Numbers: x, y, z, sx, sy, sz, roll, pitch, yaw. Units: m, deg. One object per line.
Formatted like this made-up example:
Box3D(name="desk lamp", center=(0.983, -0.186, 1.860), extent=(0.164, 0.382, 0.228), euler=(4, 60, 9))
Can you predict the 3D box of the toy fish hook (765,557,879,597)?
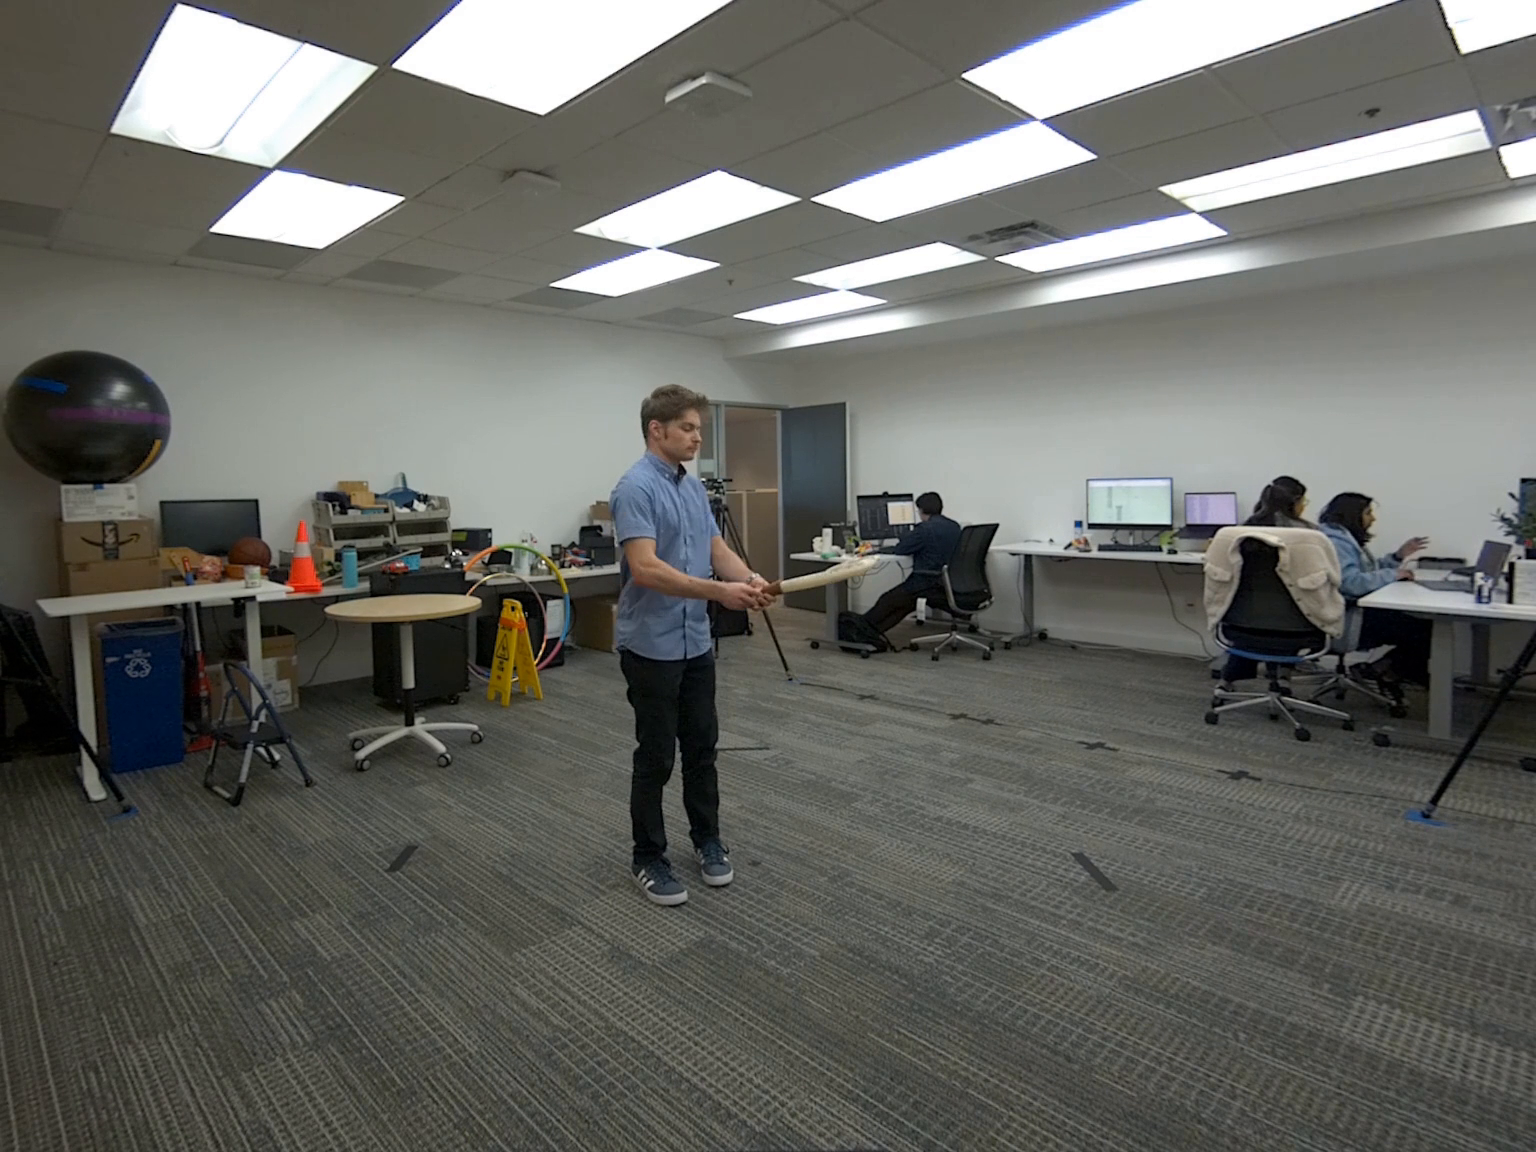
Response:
Box3D(name="toy fish hook", center=(0.084, 0.025, 2.740), extent=(0.514, 0.048, 0.222), euler=(-15, 4, 23))
